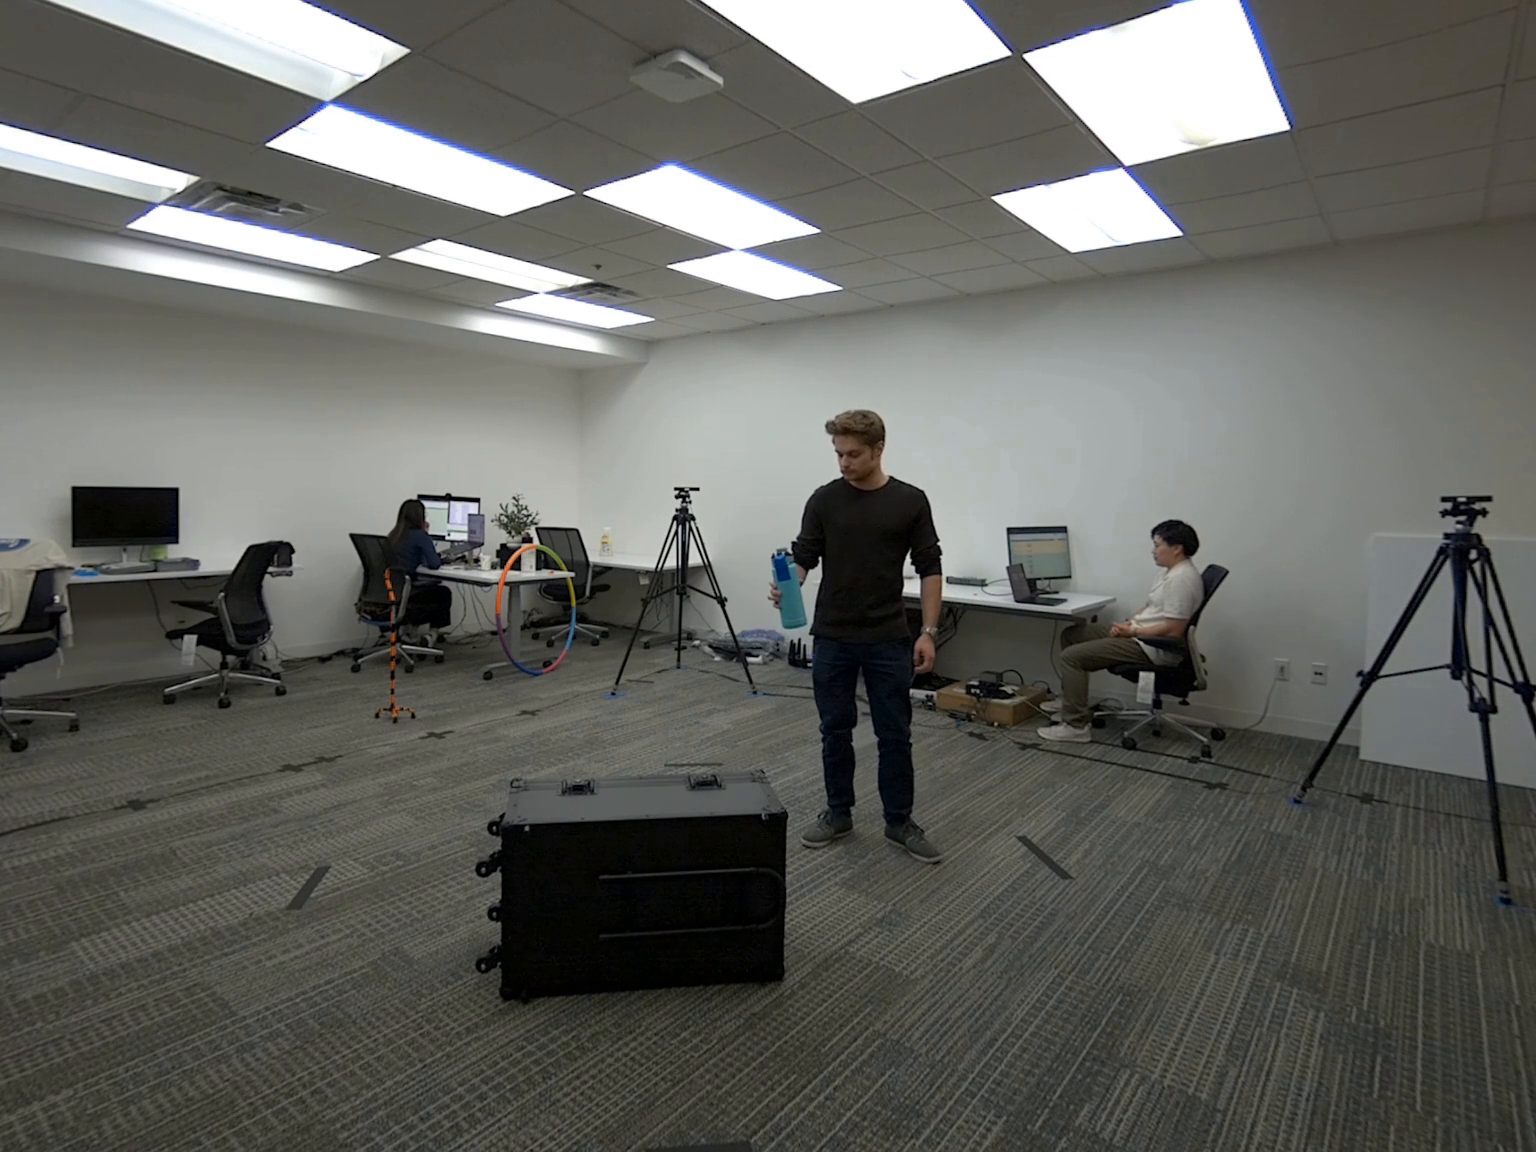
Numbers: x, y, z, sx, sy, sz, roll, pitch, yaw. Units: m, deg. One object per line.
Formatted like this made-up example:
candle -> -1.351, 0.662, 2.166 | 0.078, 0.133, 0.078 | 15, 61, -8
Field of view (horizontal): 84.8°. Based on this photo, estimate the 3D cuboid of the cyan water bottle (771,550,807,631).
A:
cyan water bottle -> 0.064, 0.039, 3.023 | 0.092, 0.281, 0.093 | -12, 7, 0
